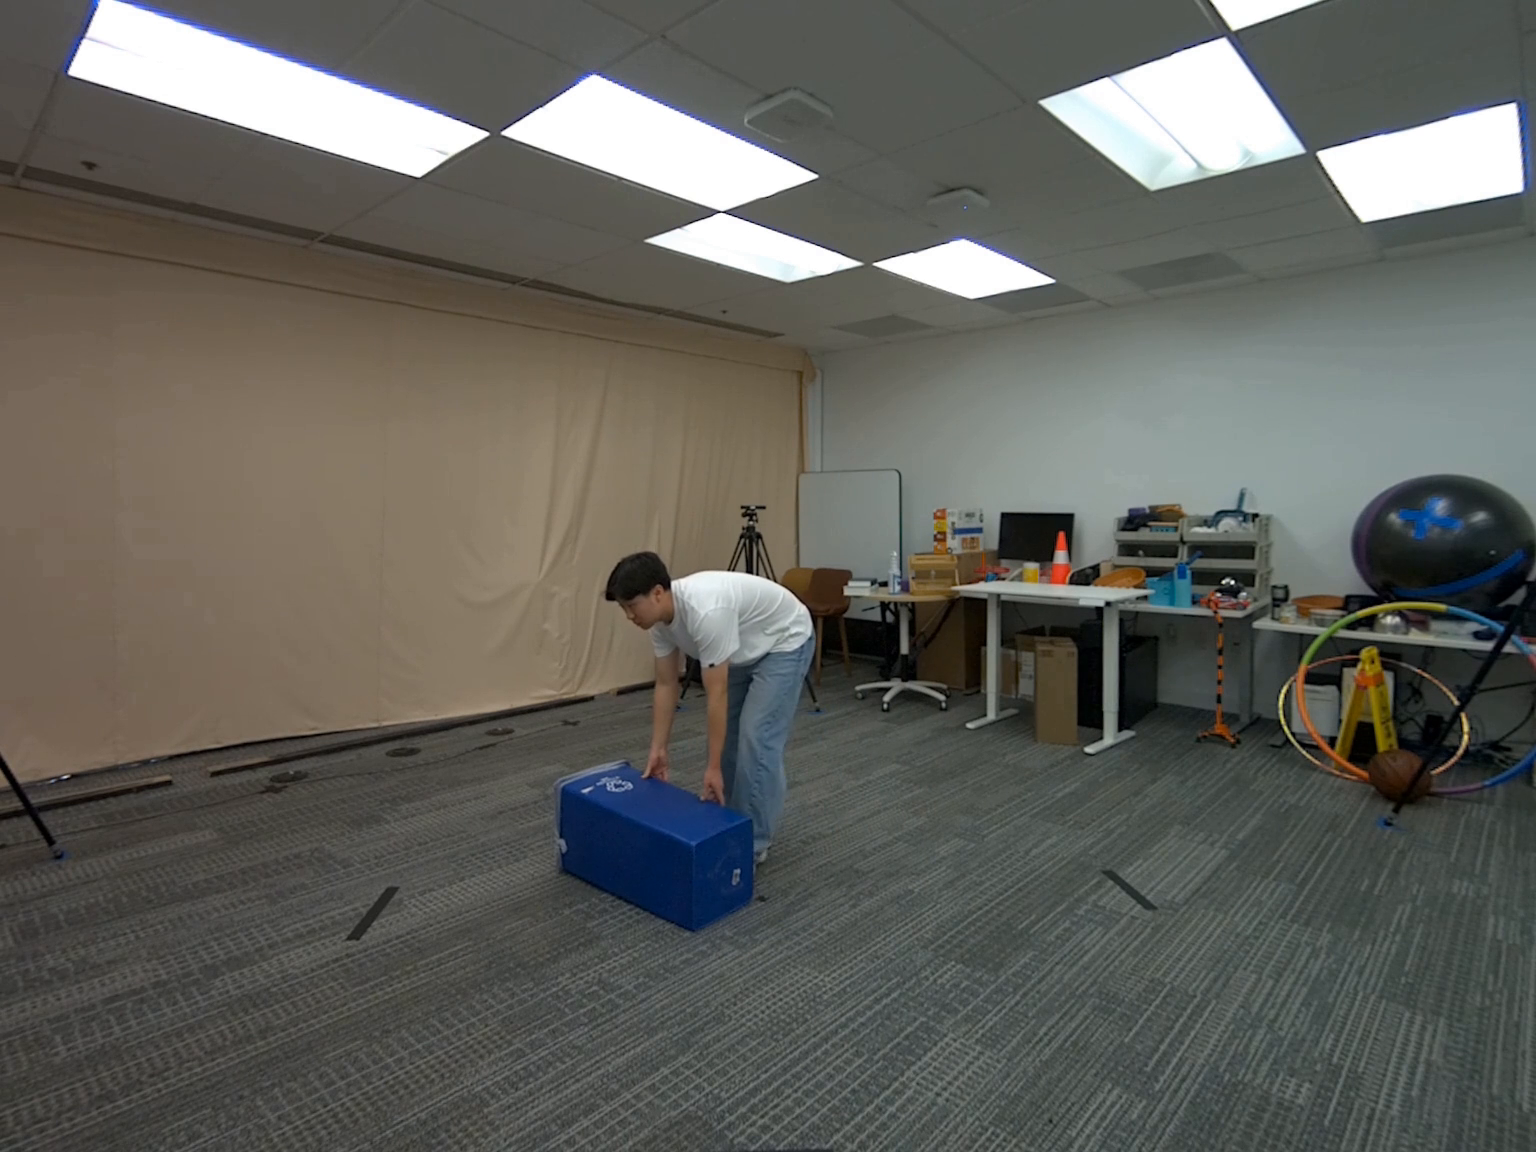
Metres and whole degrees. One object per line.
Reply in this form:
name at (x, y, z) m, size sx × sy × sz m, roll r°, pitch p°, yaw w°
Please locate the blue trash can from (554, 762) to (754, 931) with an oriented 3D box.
blue trash can at (-0.421, 0.973, 3.074) m, size 0.738 × 0.377 × 0.363 m, roll 7°, pitch 8°, yaw 41°
